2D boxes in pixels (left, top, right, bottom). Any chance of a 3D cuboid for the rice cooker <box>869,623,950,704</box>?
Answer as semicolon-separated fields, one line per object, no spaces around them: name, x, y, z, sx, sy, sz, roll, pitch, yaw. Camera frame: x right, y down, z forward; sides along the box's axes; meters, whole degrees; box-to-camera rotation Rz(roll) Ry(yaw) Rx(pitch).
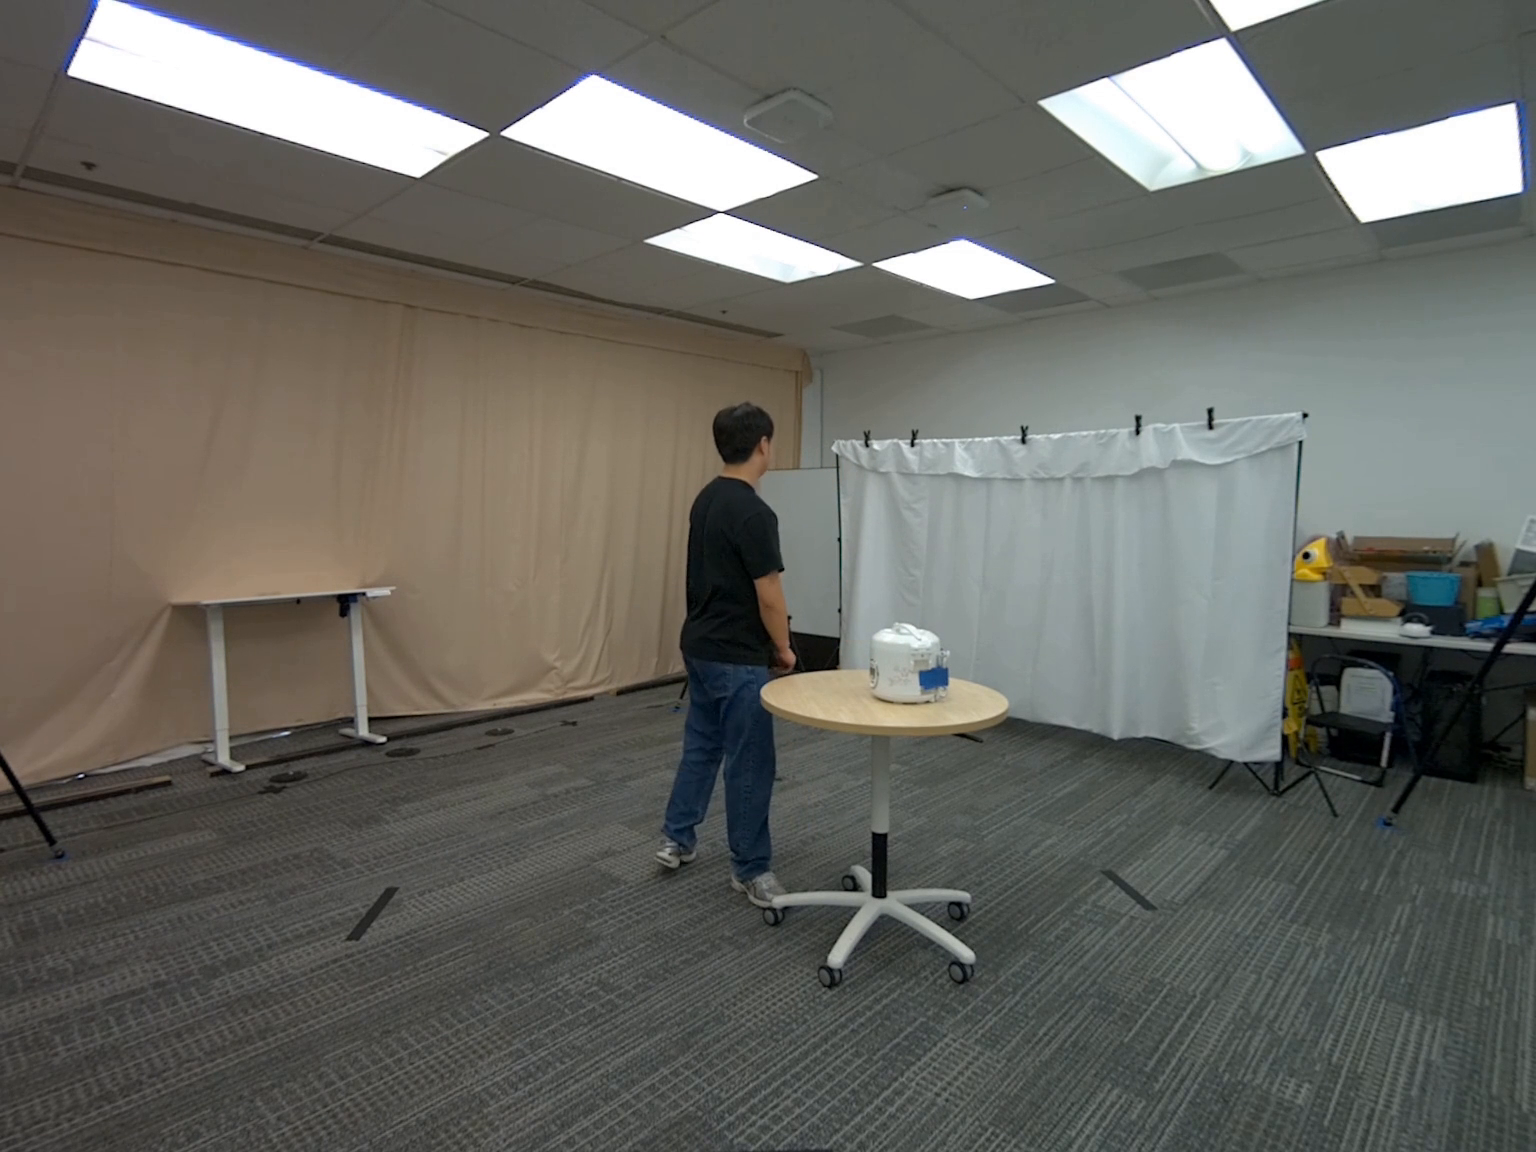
rice cooker;0.427;0.263;2.603;0.214;0.232;0.224;-1;3;-15
